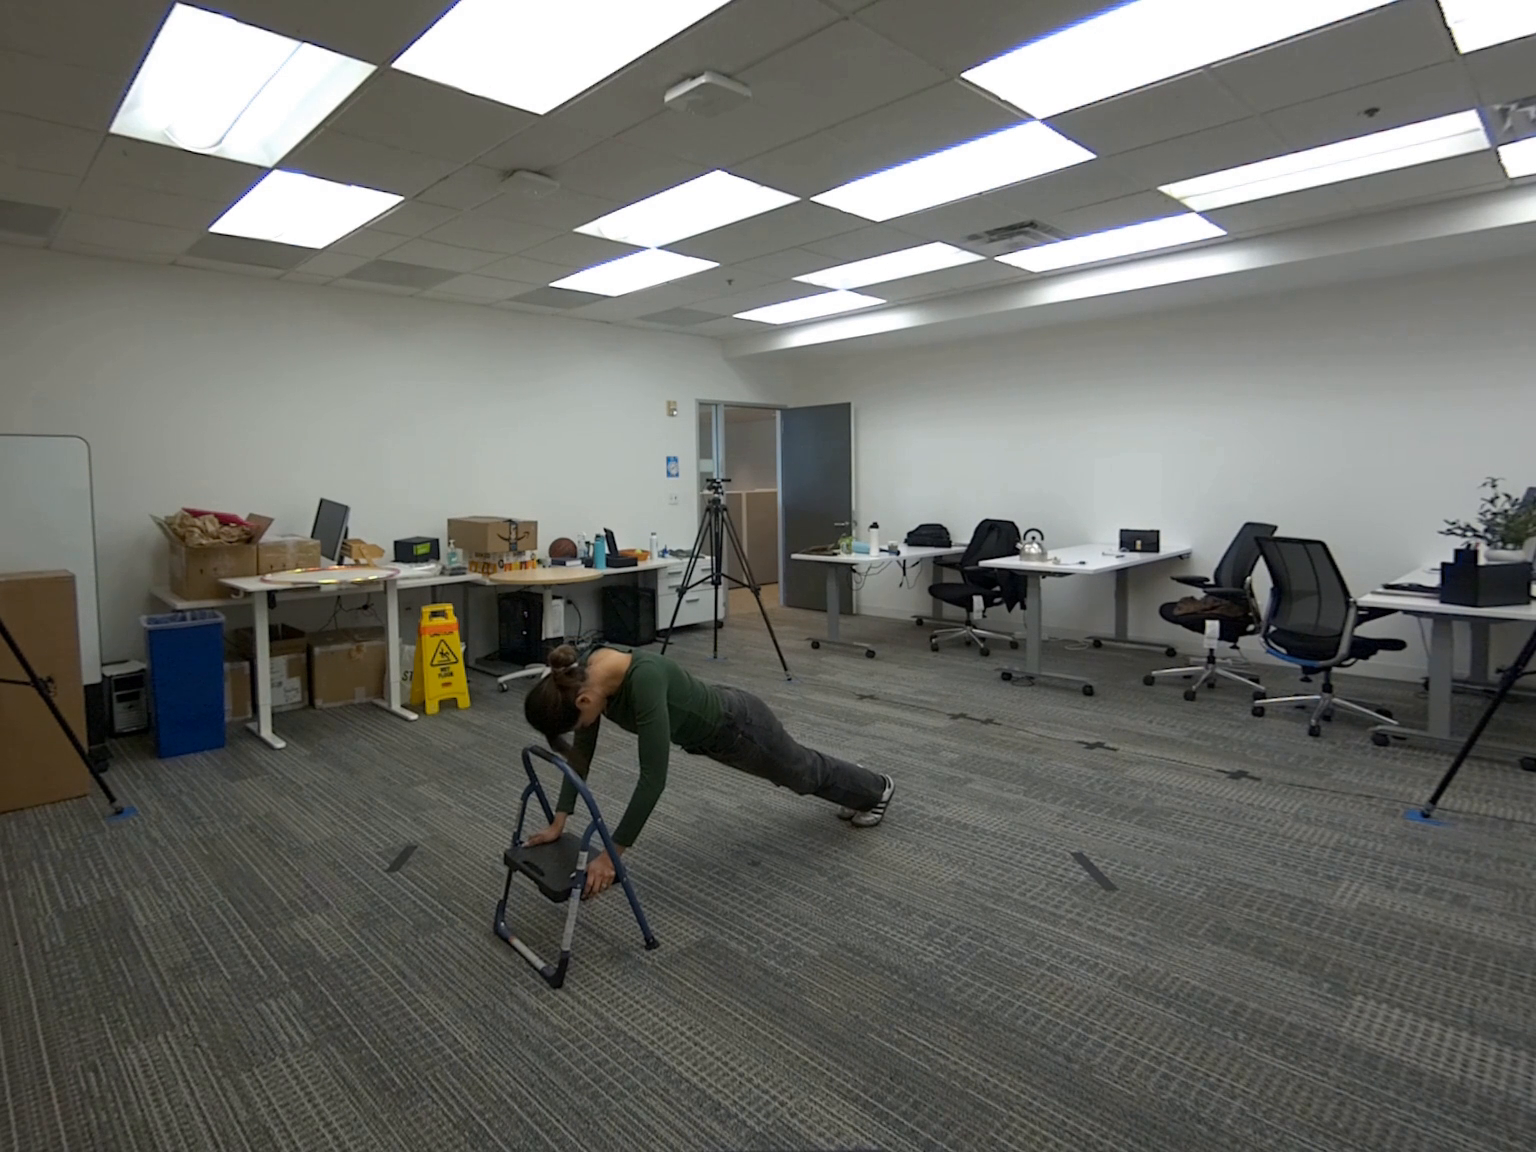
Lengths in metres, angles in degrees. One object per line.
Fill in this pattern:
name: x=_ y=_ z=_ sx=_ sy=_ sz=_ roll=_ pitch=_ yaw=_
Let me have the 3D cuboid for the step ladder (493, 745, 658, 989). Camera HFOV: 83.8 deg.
step ladder: x=-0.599 y=0.814 z=2.603 sx=0.340 sy=0.604 sz=0.444 roll=-5 pitch=6 yaw=-41
